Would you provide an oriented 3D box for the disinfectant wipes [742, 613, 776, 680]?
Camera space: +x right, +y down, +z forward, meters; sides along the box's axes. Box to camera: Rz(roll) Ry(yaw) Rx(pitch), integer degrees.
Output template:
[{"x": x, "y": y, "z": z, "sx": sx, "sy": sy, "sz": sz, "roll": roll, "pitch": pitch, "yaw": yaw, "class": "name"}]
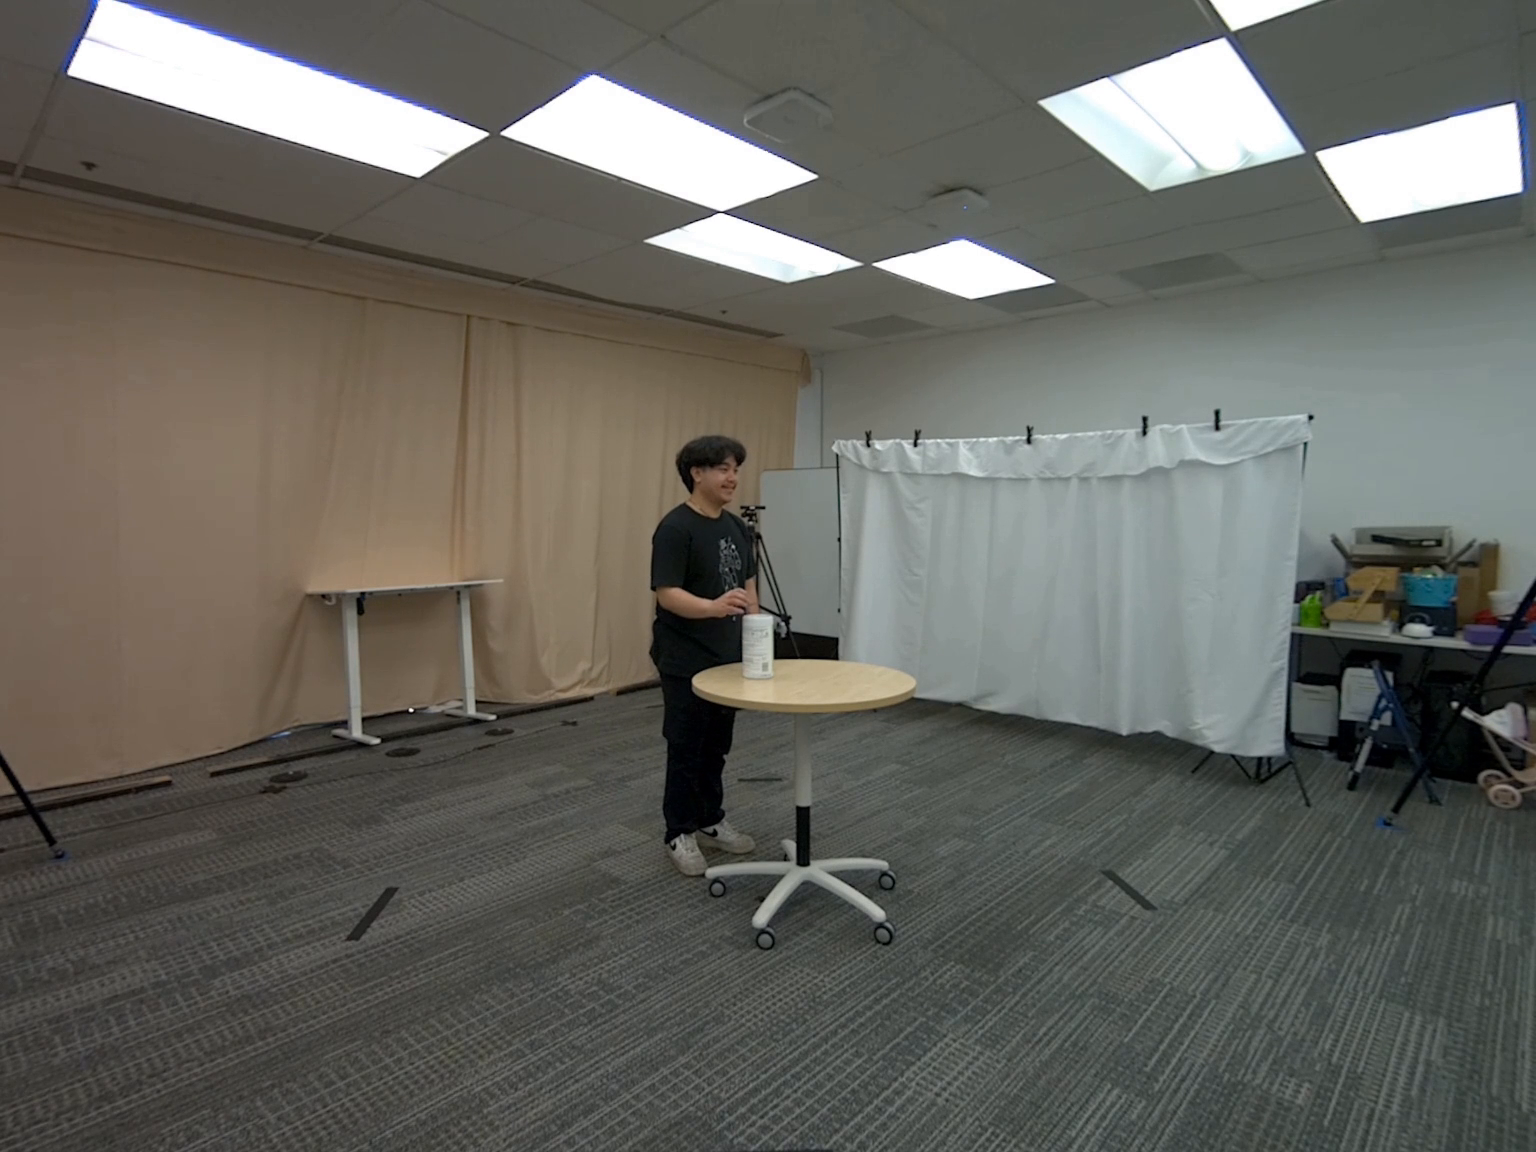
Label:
[{"x": -0.029, "y": 0.251, "z": 2.940, "sx": 0.118, "sy": 0.217, "sz": 0.118, "roll": 0, "pitch": 1, "yaw": -2, "class": "disinfectant wipes"}]
